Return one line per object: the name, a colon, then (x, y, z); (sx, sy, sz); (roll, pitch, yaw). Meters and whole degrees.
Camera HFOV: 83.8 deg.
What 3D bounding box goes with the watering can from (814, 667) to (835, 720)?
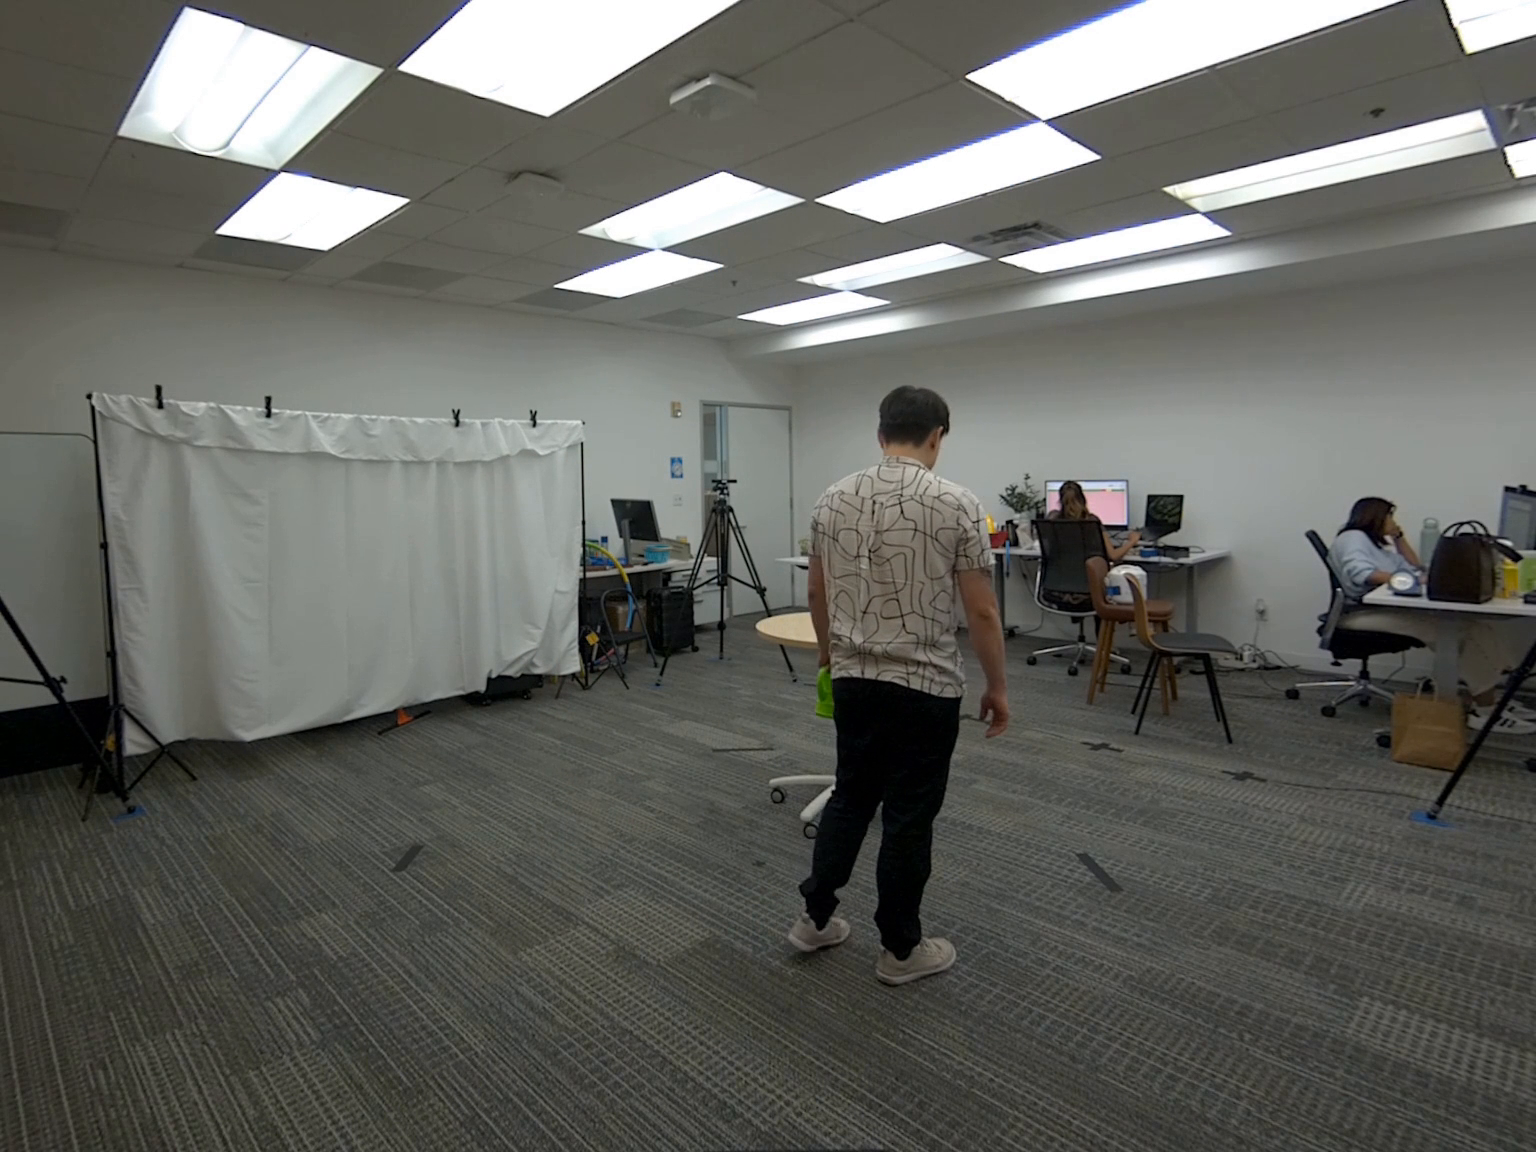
watering can: (0.257, 0.370, 2.739); (0.270, 0.177, 0.100); (9, -5, -32)
